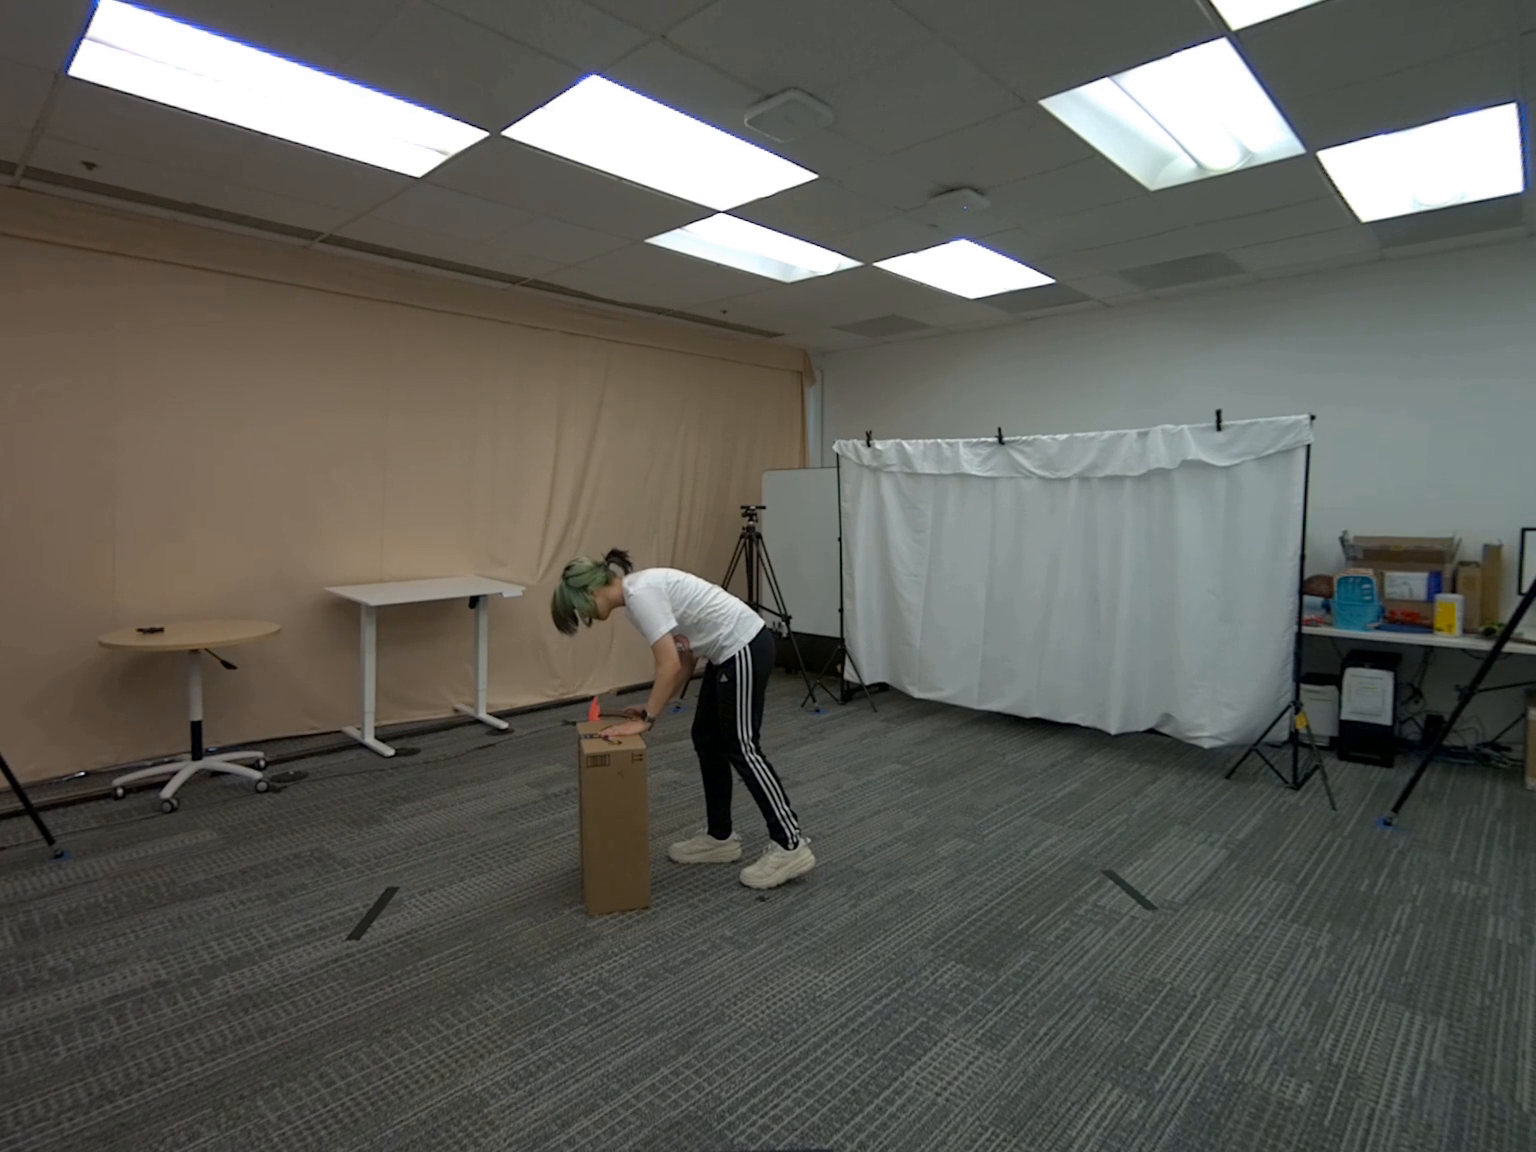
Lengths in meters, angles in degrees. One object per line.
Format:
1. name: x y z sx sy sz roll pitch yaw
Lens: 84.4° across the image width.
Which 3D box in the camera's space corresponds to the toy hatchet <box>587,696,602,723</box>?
1. toy hatchet: -0.597 0.596 3.358 0.274 0.131 0.029 18 -28 12
